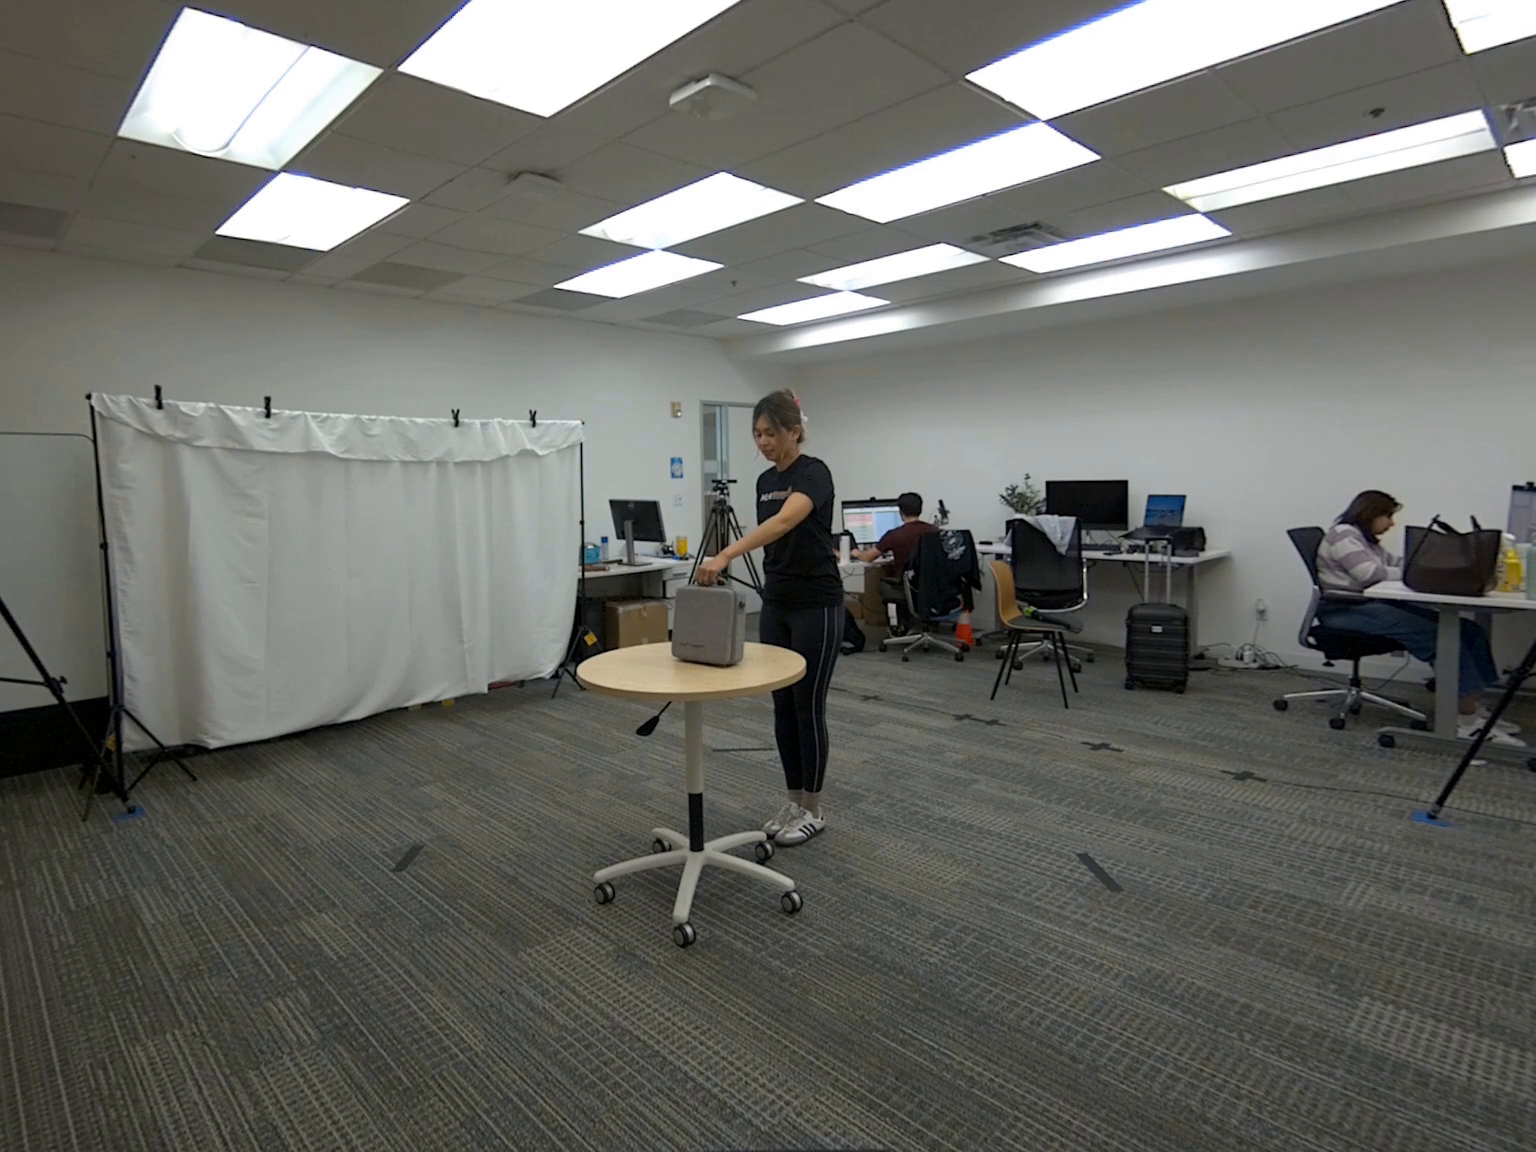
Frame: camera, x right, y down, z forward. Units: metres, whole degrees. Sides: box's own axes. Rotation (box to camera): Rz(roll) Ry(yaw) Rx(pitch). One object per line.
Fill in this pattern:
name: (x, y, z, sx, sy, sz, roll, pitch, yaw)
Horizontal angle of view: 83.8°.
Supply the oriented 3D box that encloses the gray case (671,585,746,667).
gray case: (-0.199, 0.158, 2.884, 0.264, 0.261, 0.101, 3, -4, 37)
